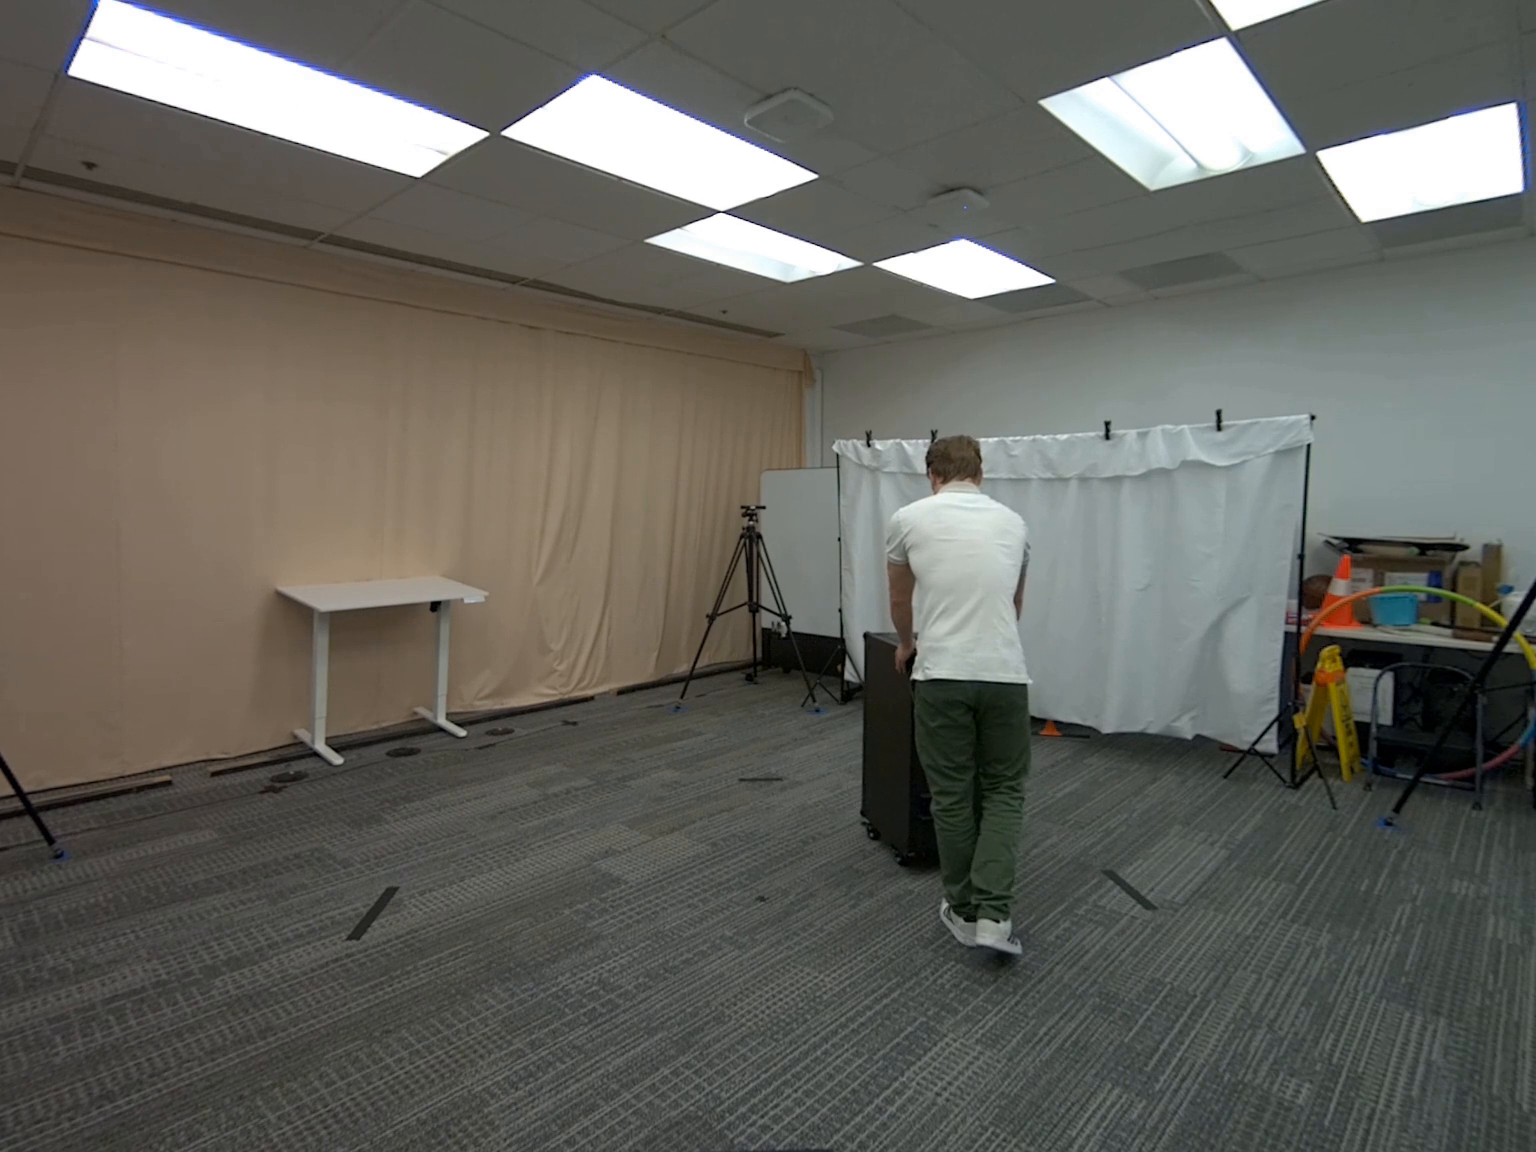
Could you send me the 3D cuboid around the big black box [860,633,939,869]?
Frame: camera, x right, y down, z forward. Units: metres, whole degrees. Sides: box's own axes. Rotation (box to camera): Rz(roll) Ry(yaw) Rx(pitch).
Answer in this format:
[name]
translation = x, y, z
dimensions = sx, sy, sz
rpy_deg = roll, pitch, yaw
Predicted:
[big black box]
translation = 0.637, 0.688, 3.391
dimensions = 0.380, 0.867, 0.532
rpy_deg = 0, 3, -14
